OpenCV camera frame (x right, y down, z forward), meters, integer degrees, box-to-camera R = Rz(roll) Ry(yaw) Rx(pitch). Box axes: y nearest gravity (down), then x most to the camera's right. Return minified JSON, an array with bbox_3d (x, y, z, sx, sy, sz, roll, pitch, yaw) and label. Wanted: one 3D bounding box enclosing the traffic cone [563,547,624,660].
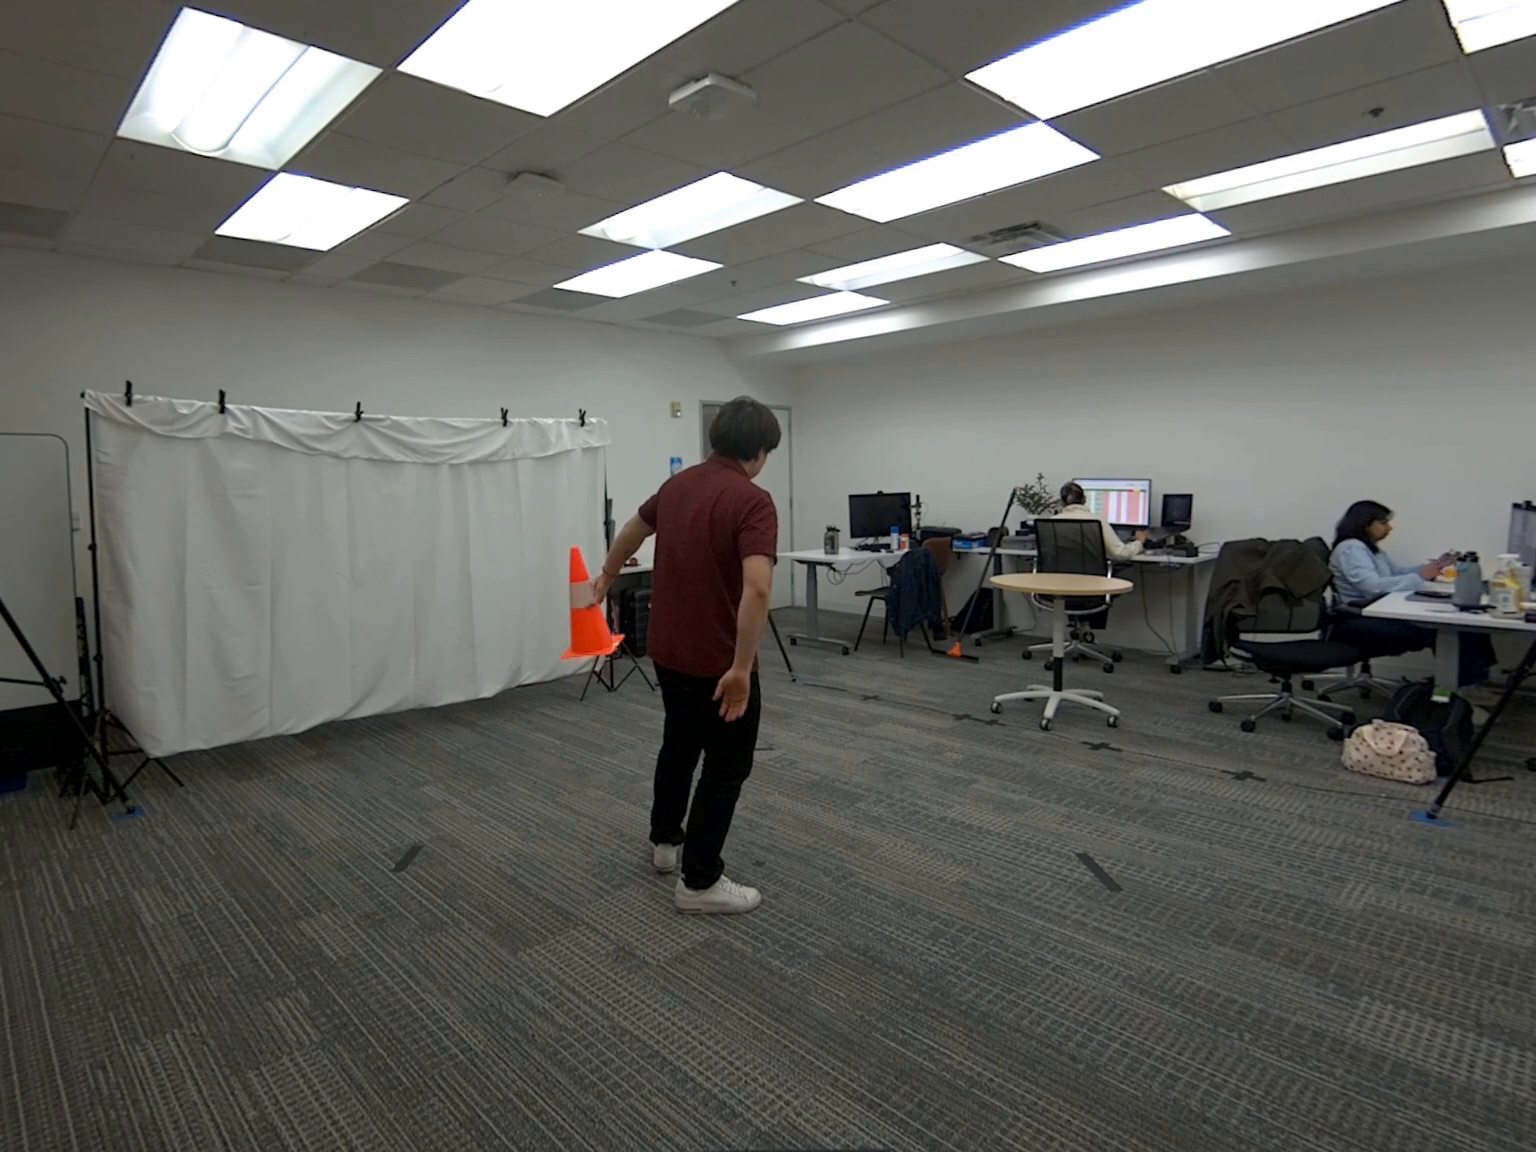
[{"bbox_3d":[-0.672,0.081,3.099,0.204,0.379,0.206,-8,12,5],"label":"traffic cone"}]
